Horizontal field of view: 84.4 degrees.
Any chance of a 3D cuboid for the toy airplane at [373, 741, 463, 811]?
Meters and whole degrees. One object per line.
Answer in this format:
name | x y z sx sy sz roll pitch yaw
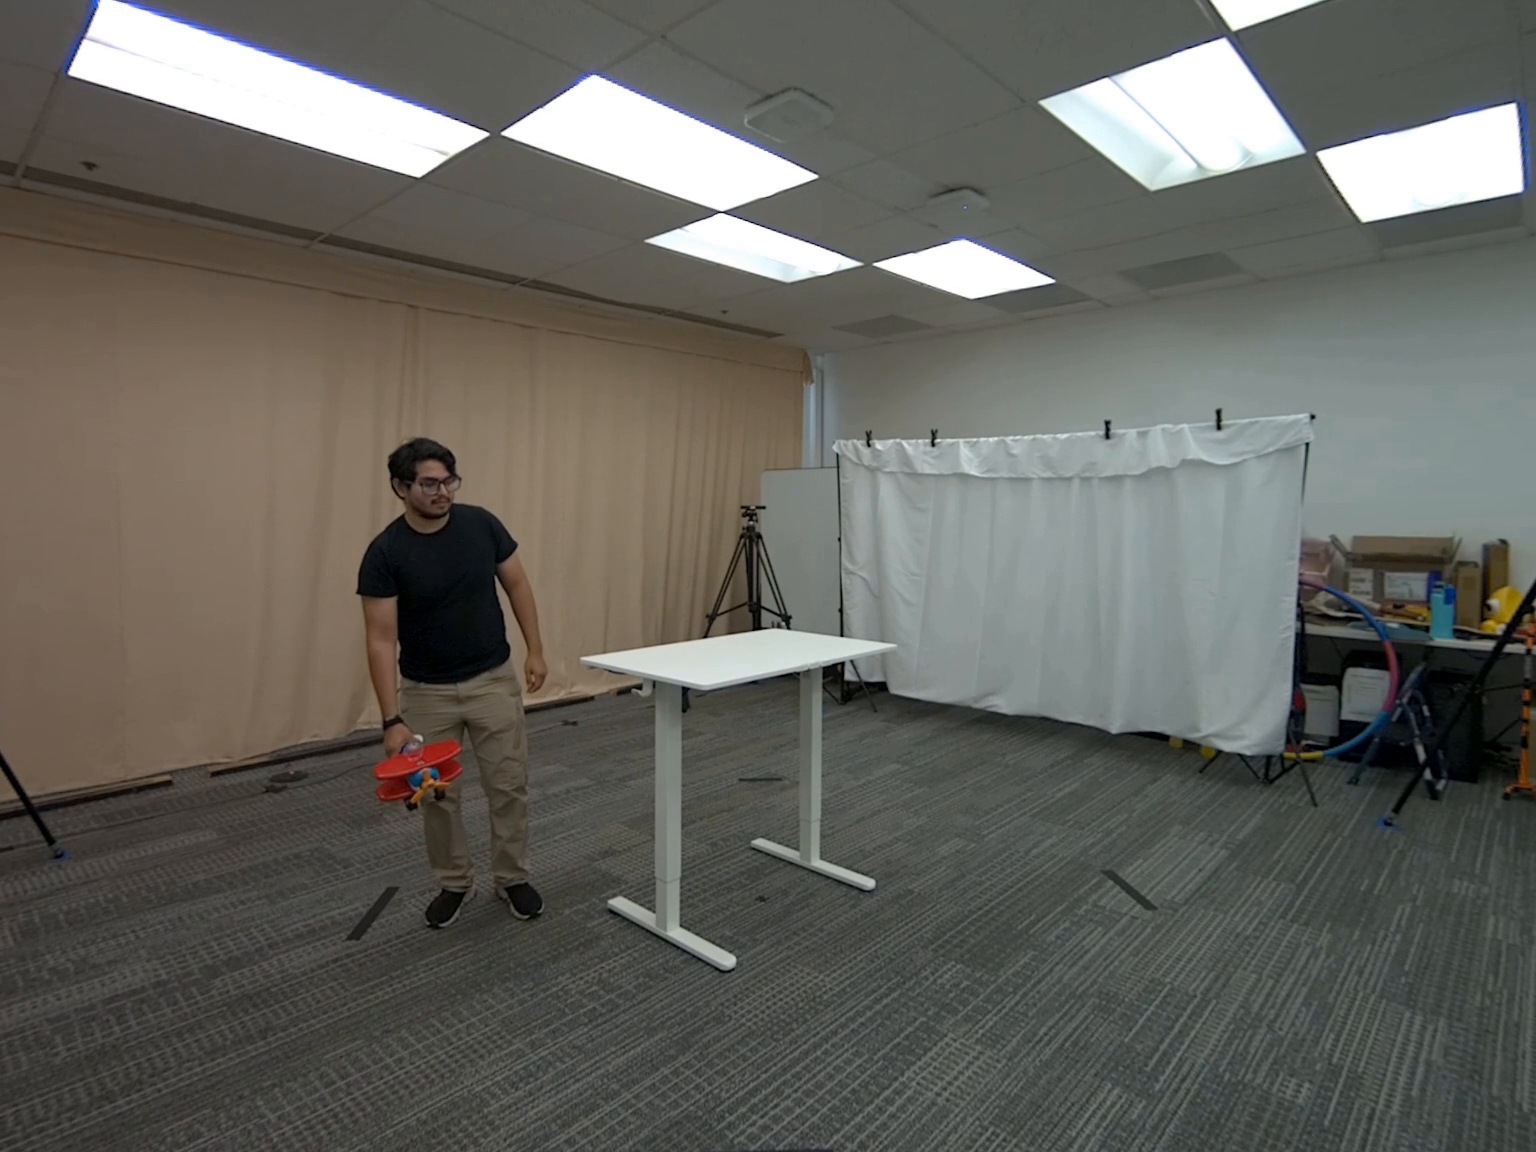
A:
toy airplane | -1.116 0.595 2.542 0.264 0.155 0.249 24 33 14
